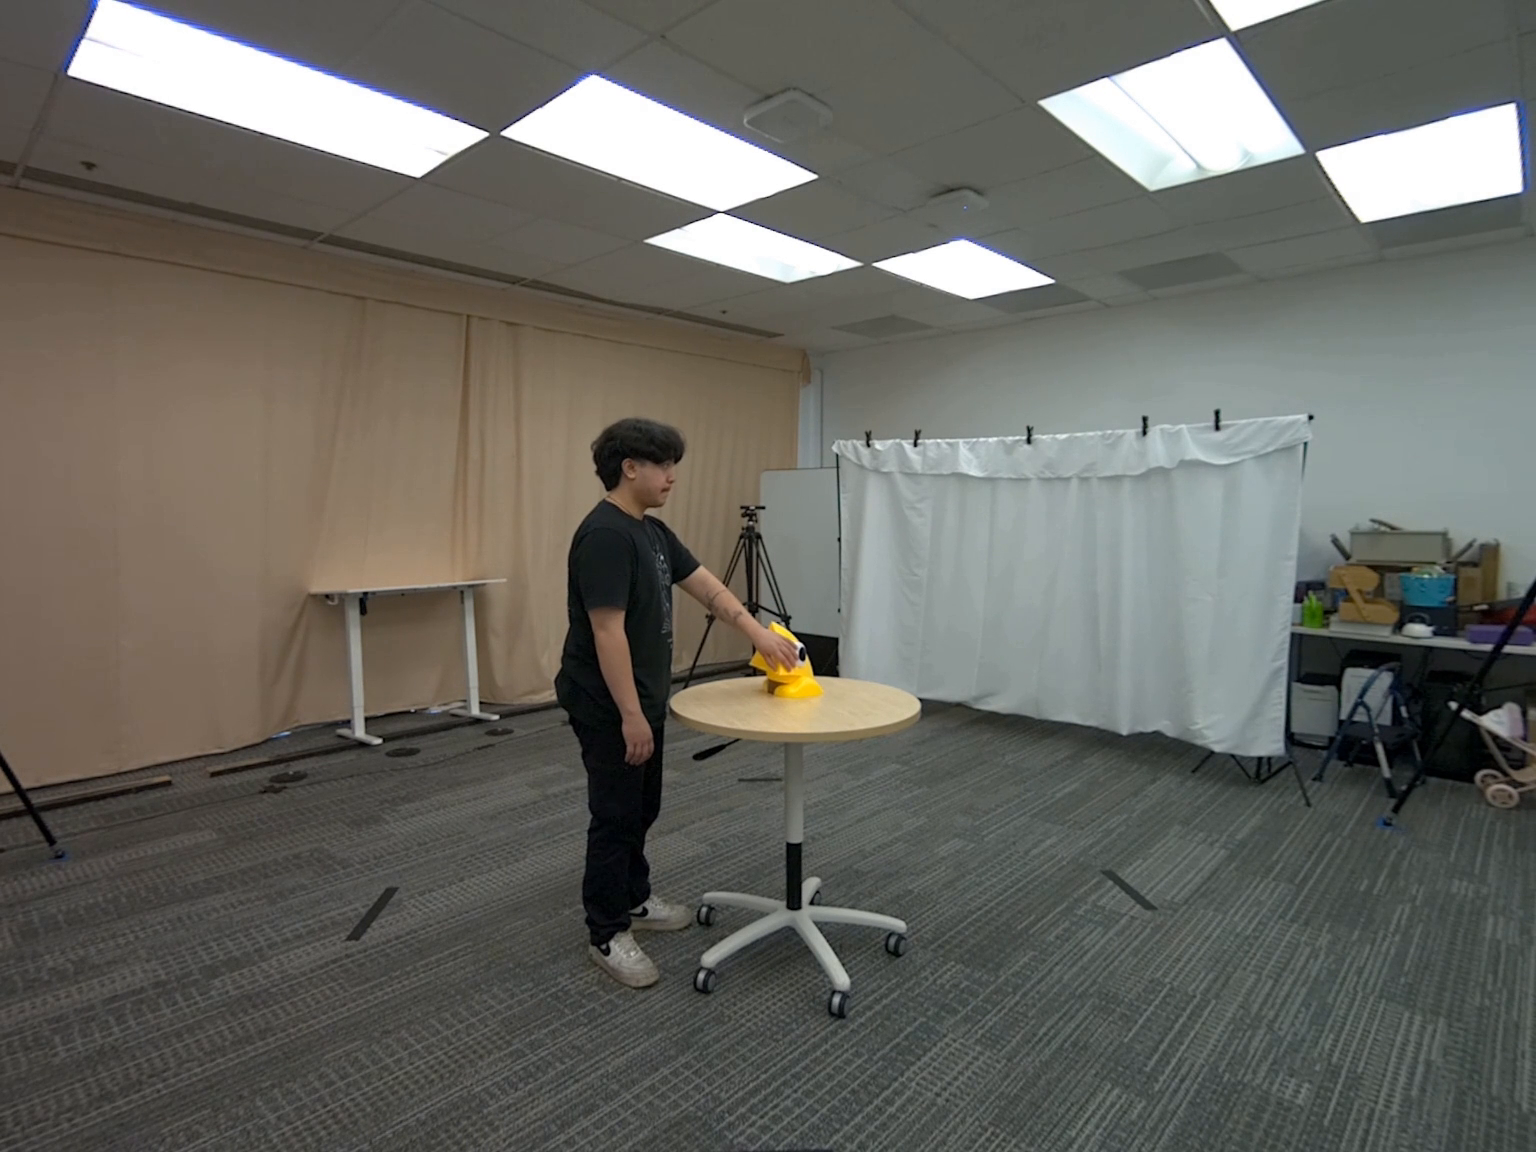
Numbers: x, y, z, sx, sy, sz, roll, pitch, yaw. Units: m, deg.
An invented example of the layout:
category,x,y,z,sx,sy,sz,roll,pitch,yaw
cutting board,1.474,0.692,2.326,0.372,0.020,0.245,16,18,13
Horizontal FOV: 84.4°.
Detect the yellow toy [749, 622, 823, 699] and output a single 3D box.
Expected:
category,x,y,z,sx,sy,sz,roll,pitch,yaw
yellow toy,0.068,0.261,2.710,0.188,0.230,0.210,-2,3,-27
